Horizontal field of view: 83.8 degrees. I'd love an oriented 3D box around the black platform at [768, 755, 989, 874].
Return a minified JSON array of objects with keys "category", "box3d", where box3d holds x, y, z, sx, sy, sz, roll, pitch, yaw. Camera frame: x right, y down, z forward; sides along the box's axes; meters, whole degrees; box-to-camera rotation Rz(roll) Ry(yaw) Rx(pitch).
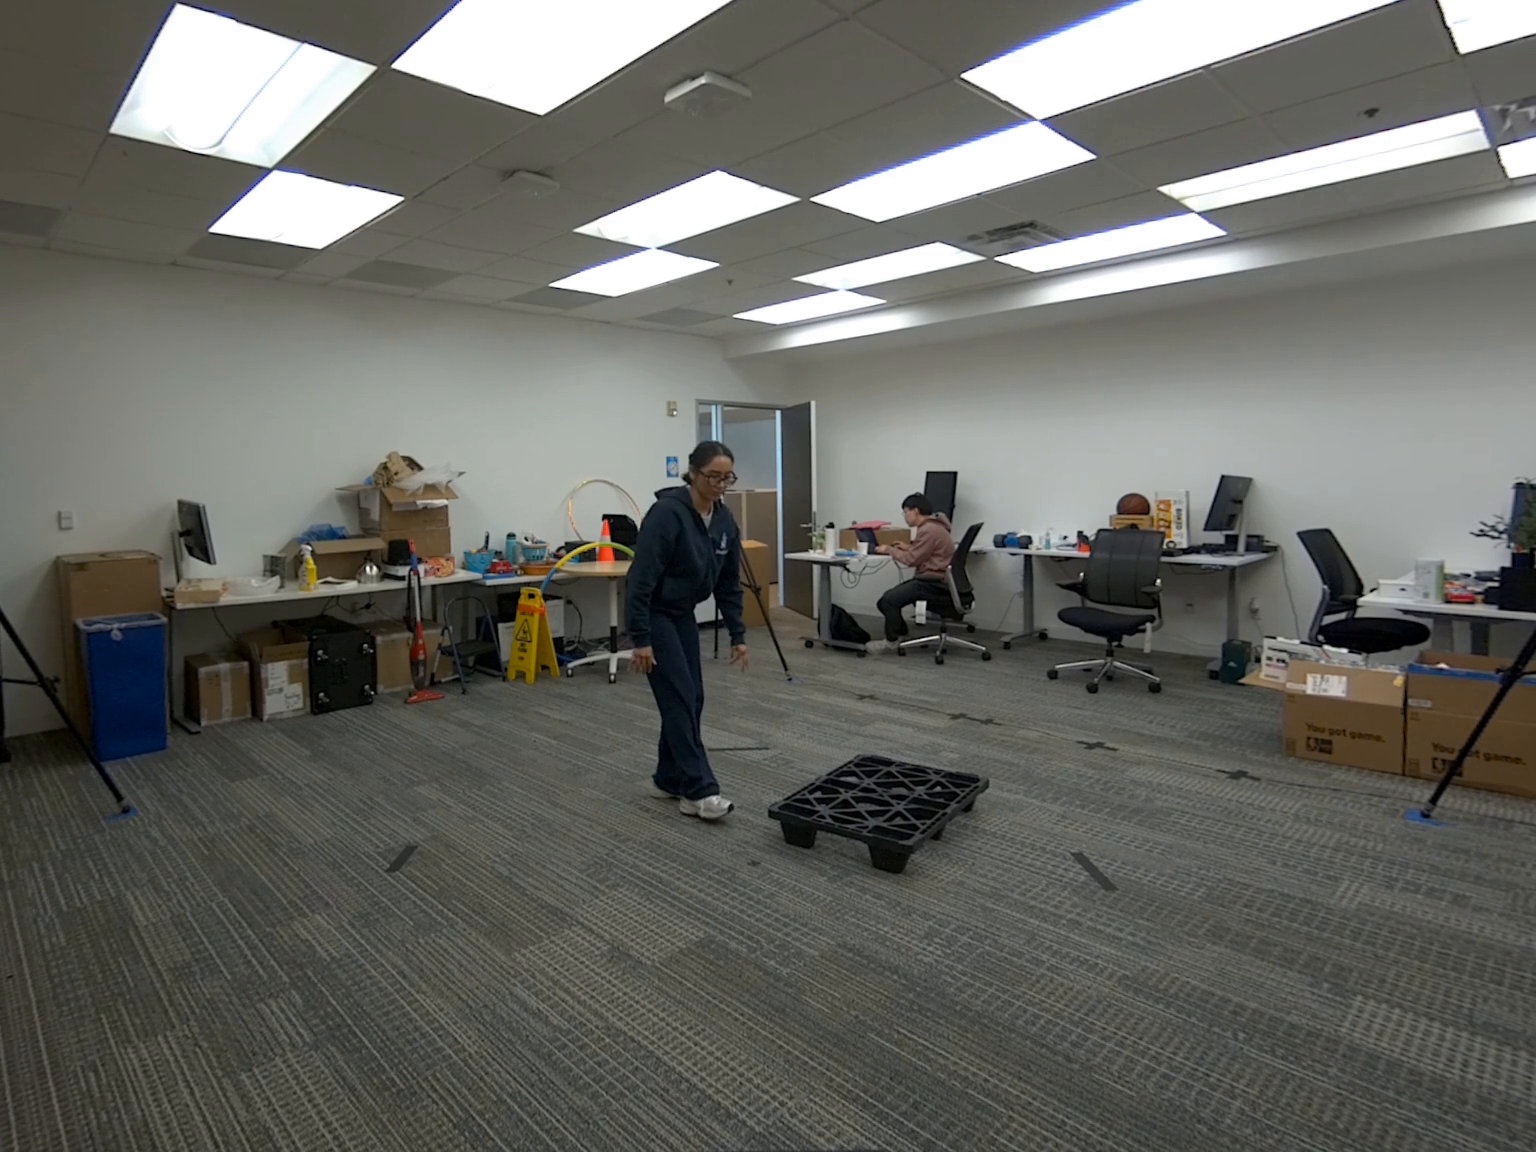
[{"category":"black platform","box3d":[0.458,0.934,3.418,0.622,0.143,0.786,3,7,35]}]
